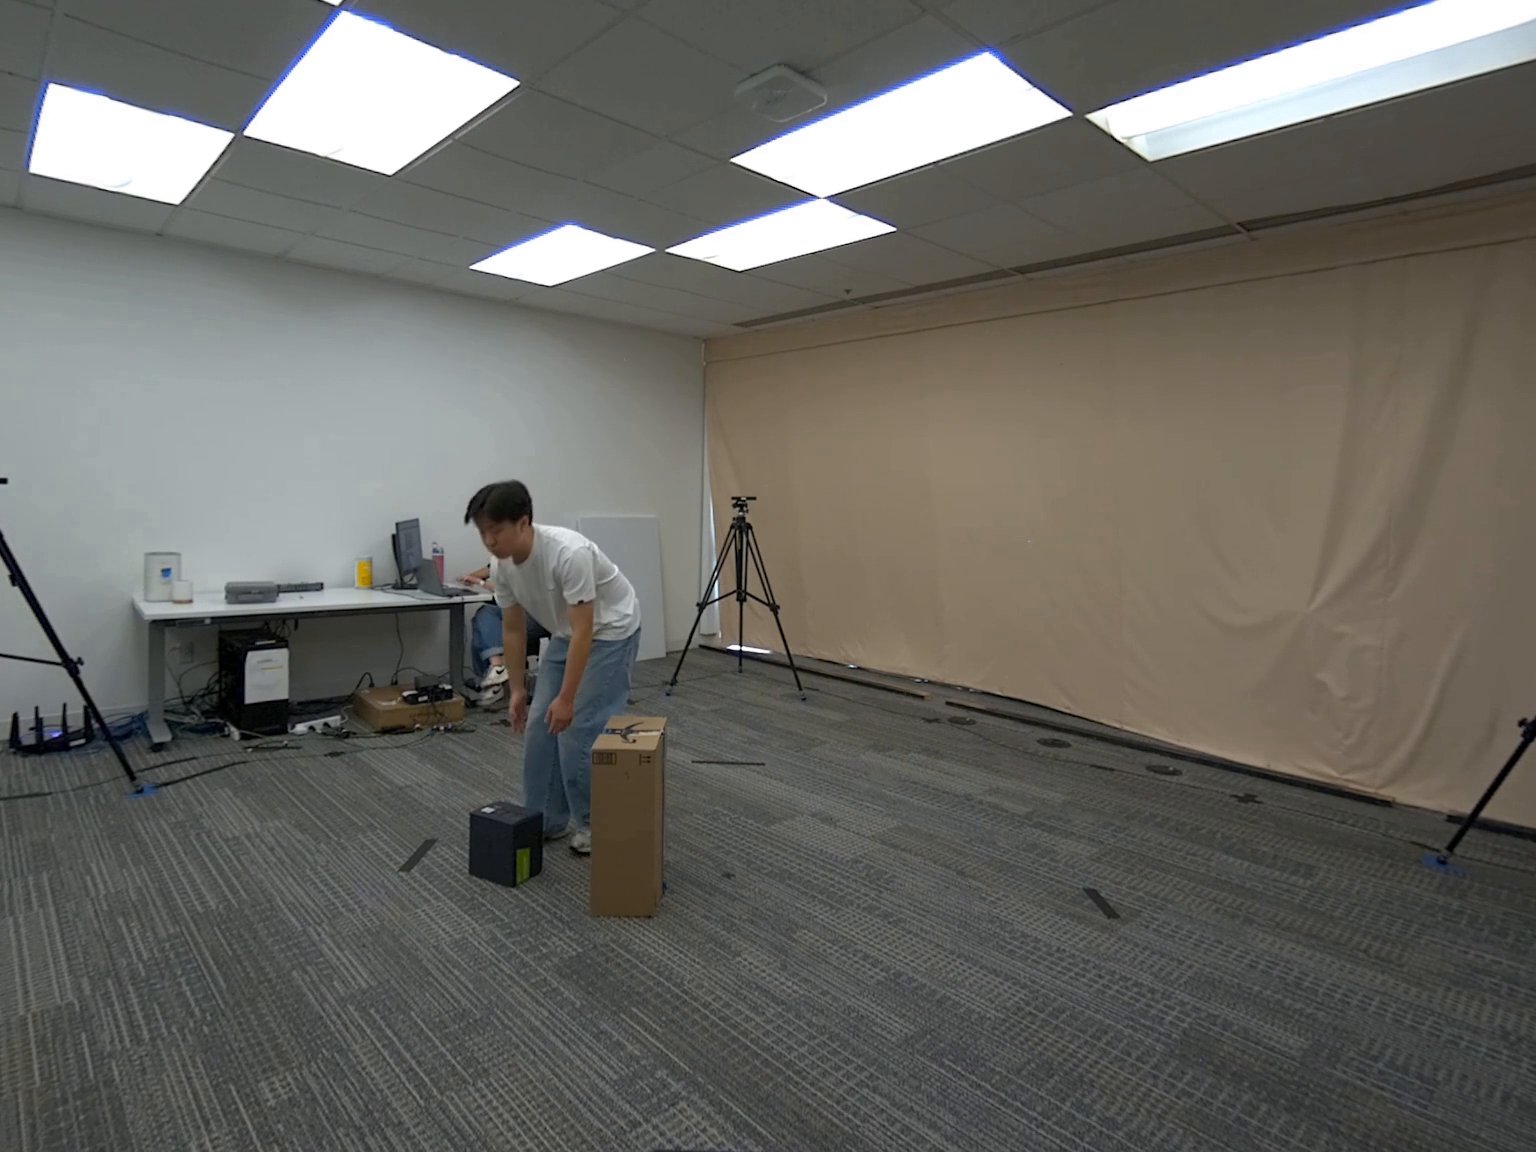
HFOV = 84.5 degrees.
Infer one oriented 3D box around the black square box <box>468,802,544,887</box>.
[{"bbox_3d":[-0.963,0.966,3.076,0.221,0.227,0.153,4,5,27],"label":"black square box"}]
